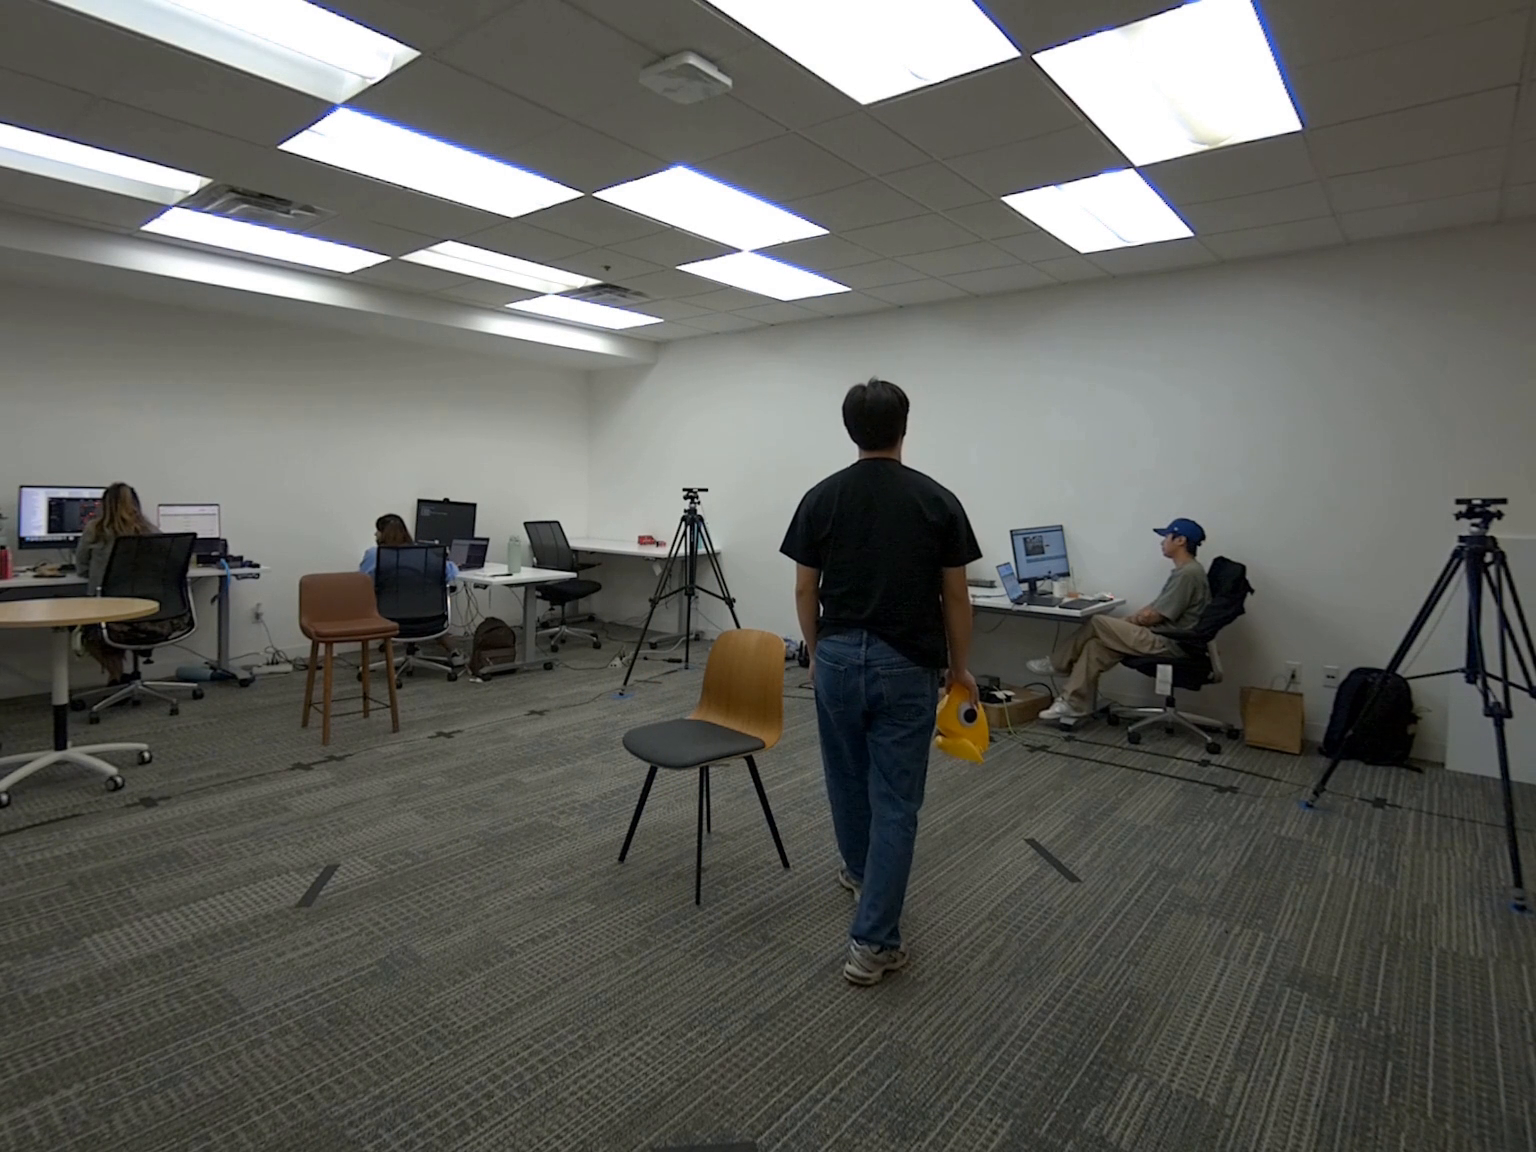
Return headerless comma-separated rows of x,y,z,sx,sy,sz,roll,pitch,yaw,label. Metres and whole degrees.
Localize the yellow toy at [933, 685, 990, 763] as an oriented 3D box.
0.631,0.439,2.737,0.197,0.230,0.201,15,7,15,yellow toy
